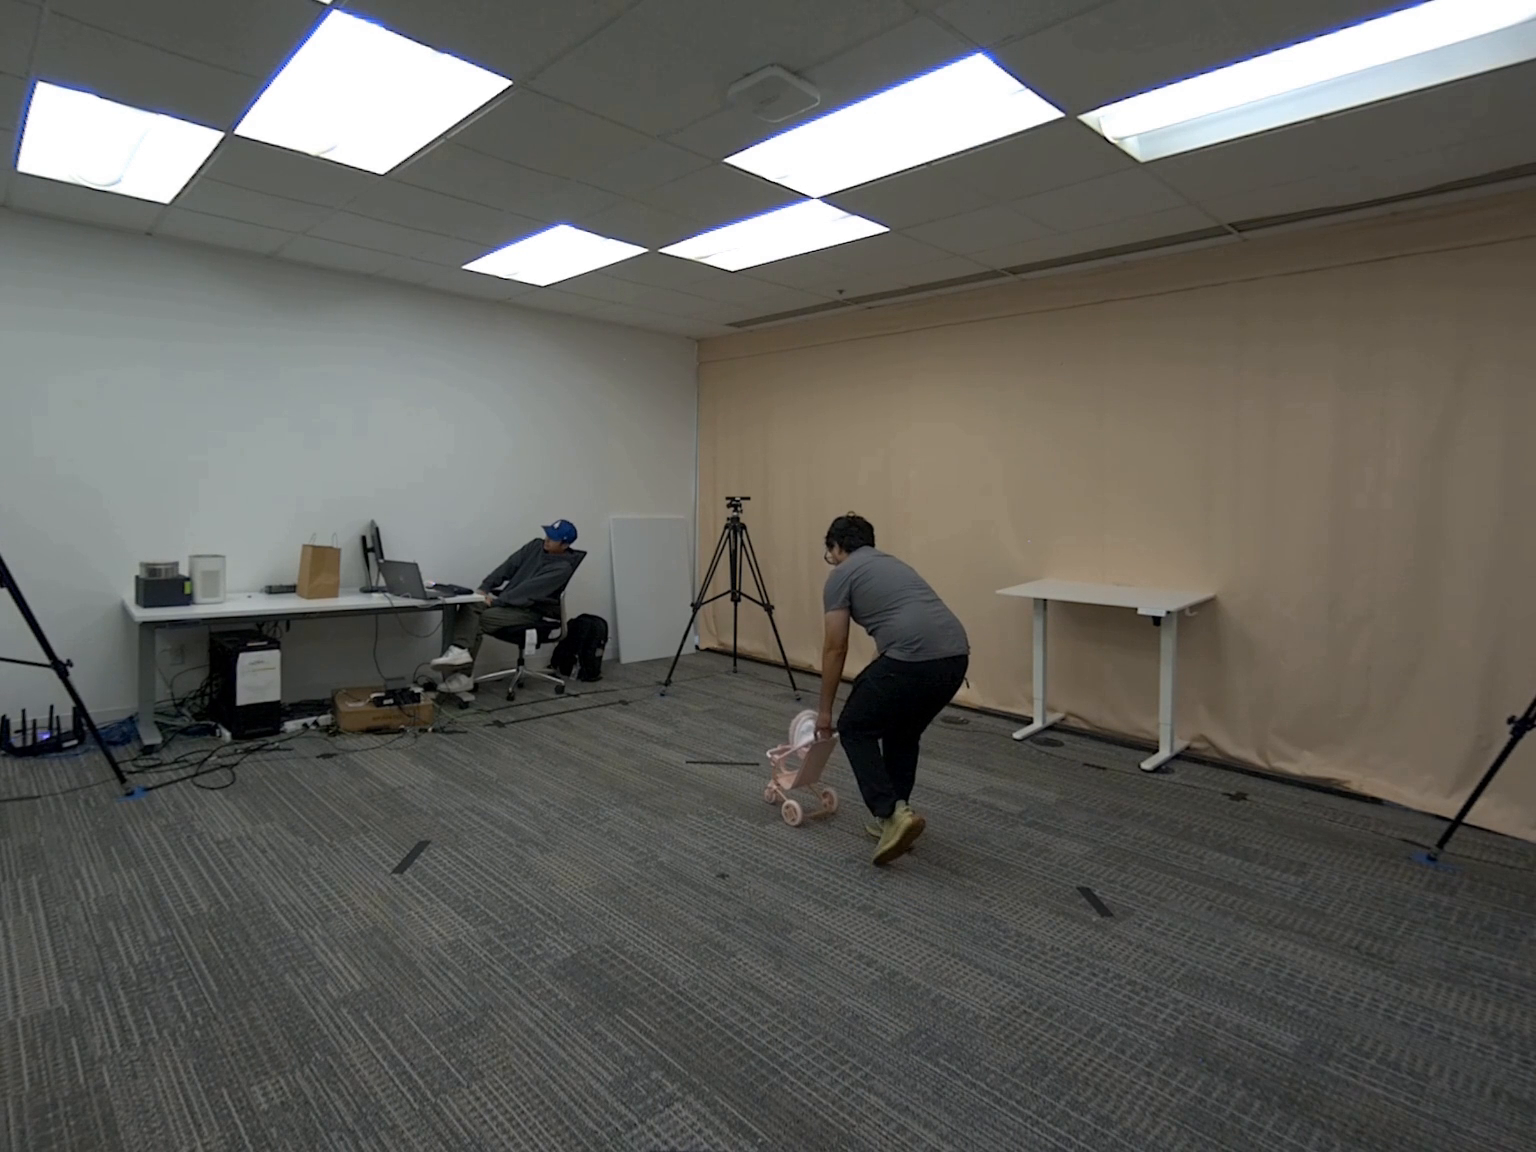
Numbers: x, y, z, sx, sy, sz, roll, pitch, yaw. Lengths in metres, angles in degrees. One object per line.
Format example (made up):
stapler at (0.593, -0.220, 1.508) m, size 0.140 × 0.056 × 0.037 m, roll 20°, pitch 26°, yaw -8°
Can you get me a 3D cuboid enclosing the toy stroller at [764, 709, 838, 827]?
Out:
toy stroller at (0.142, 0.832, 3.730) m, size 0.275 × 0.531 × 0.352 m, roll 0°, pitch 19°, yaw -40°
